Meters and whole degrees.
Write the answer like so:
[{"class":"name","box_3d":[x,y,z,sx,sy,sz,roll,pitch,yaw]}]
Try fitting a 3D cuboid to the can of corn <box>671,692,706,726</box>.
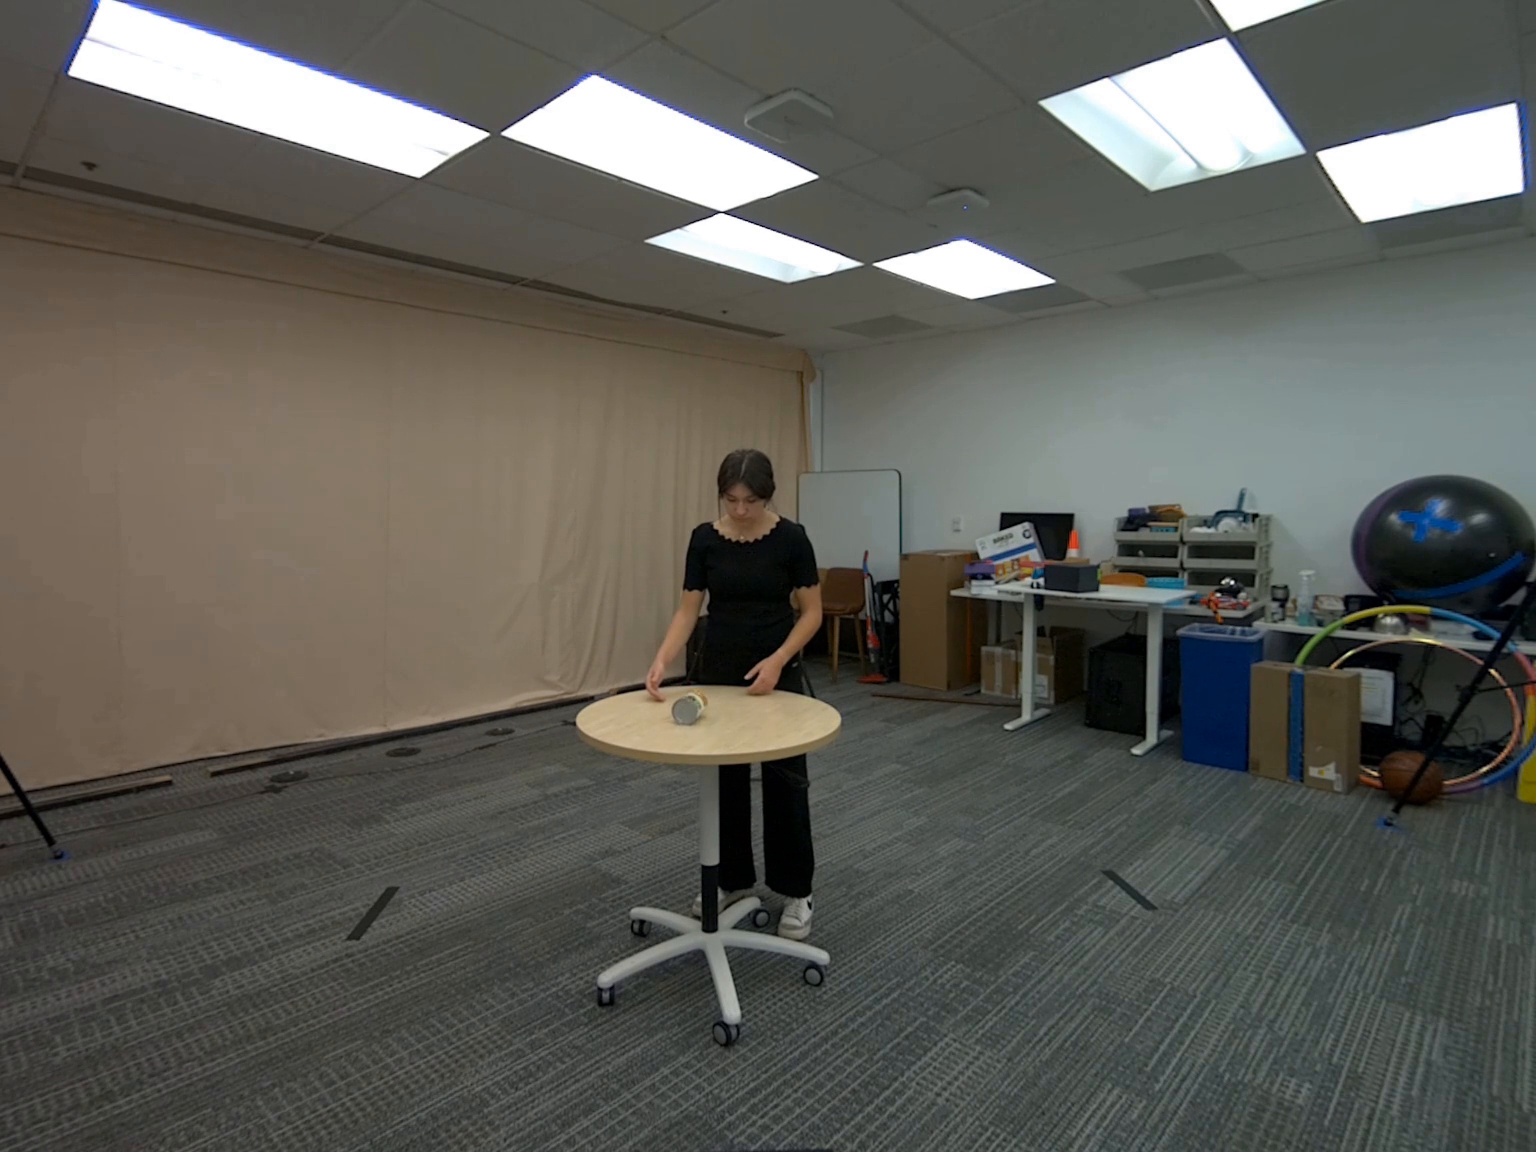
[{"class":"can of corn","box_3d":[-0.217,0.369,2.394,0.075,0.074,0.110,0,2,6]}]
